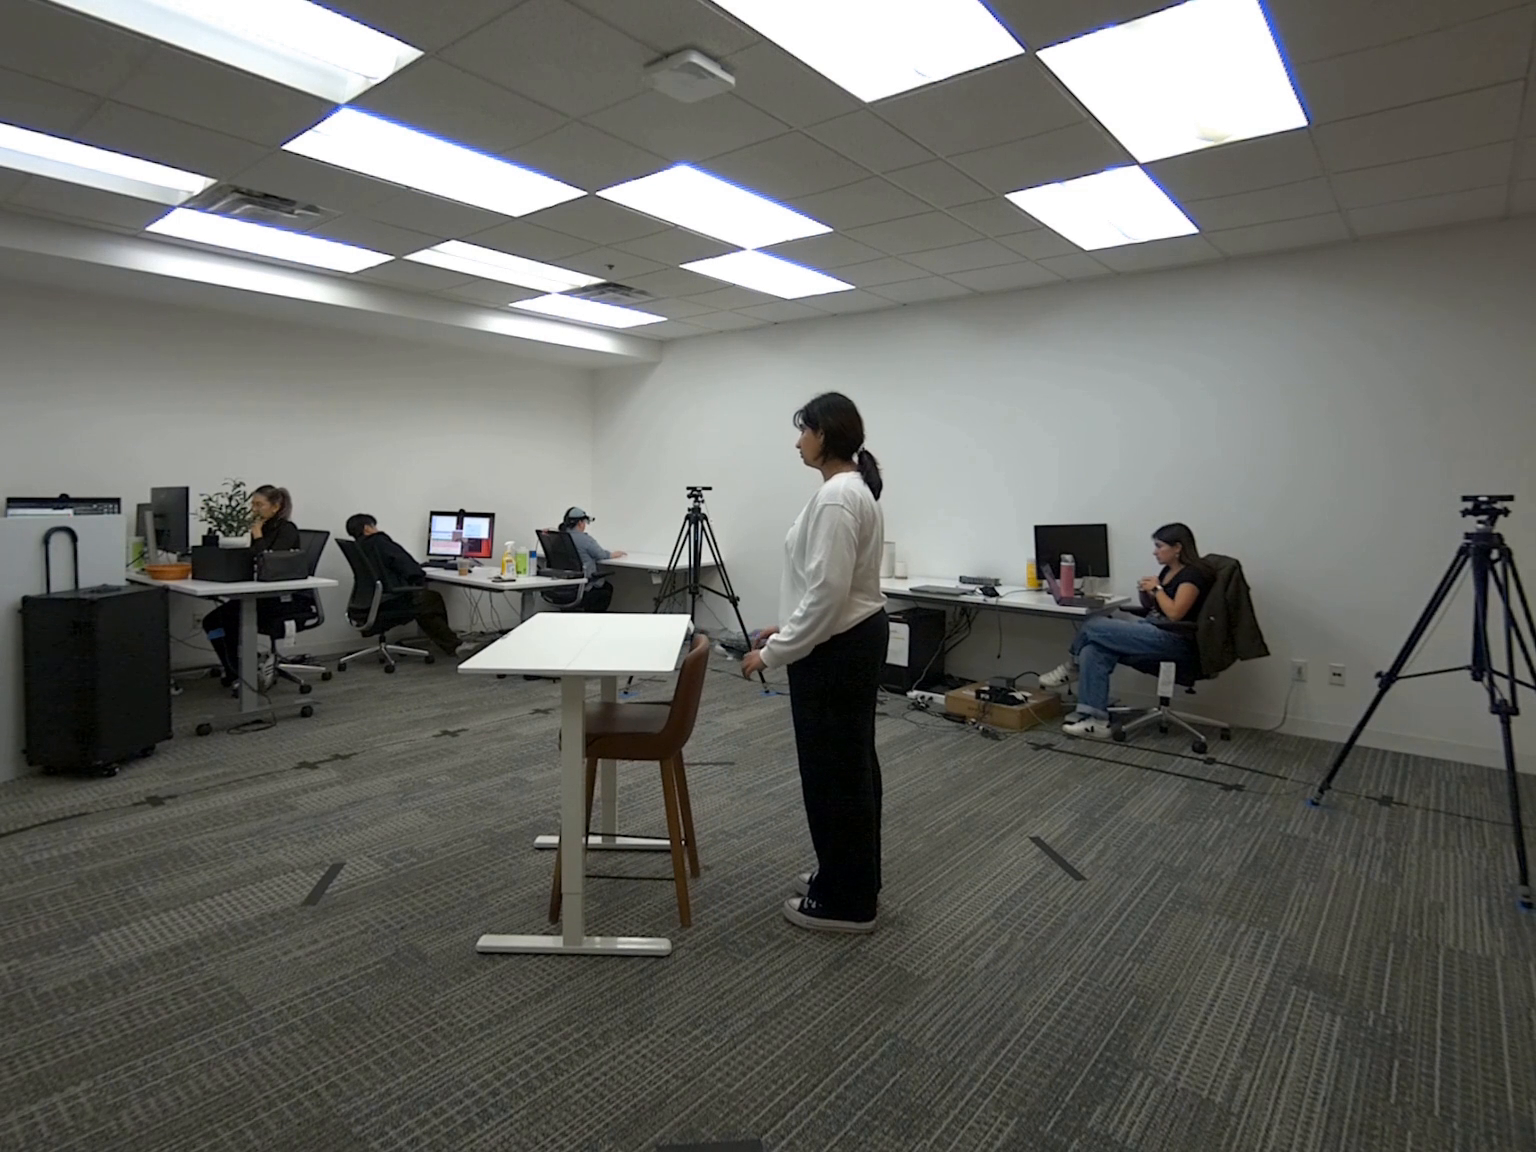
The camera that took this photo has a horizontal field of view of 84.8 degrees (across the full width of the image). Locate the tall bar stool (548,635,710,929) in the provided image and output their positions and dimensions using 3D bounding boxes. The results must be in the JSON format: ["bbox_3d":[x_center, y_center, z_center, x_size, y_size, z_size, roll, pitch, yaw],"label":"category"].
[{"bbox_3d":[-0.455,0.654,2.849,0.470,0.887,0.456,3,3,3],"label":"tall bar stool"}]
